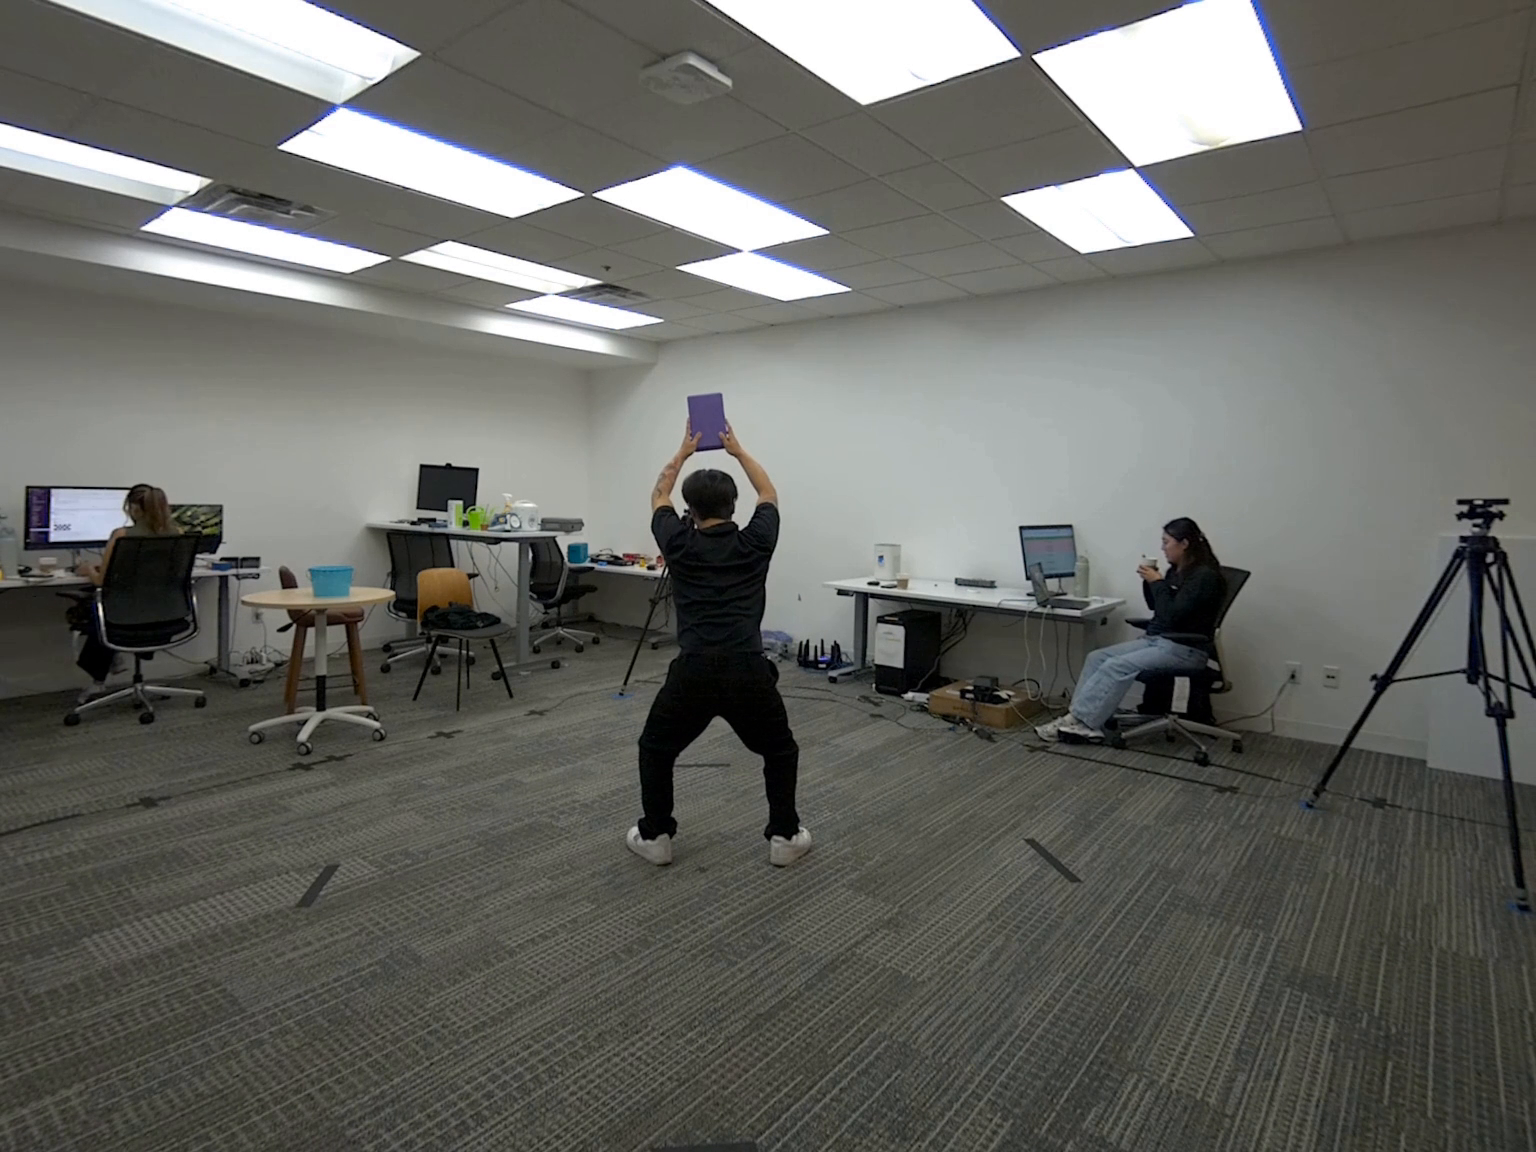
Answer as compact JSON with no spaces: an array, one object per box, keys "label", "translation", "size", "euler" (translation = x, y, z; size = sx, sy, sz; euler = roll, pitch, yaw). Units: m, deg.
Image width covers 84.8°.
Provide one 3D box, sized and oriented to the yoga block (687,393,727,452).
[{"label":"yoga block","translation":[-0.268,-0.650,3.566],"size":[0.149,0.230,0.076],"euler":[-7,-4,-2]}]
